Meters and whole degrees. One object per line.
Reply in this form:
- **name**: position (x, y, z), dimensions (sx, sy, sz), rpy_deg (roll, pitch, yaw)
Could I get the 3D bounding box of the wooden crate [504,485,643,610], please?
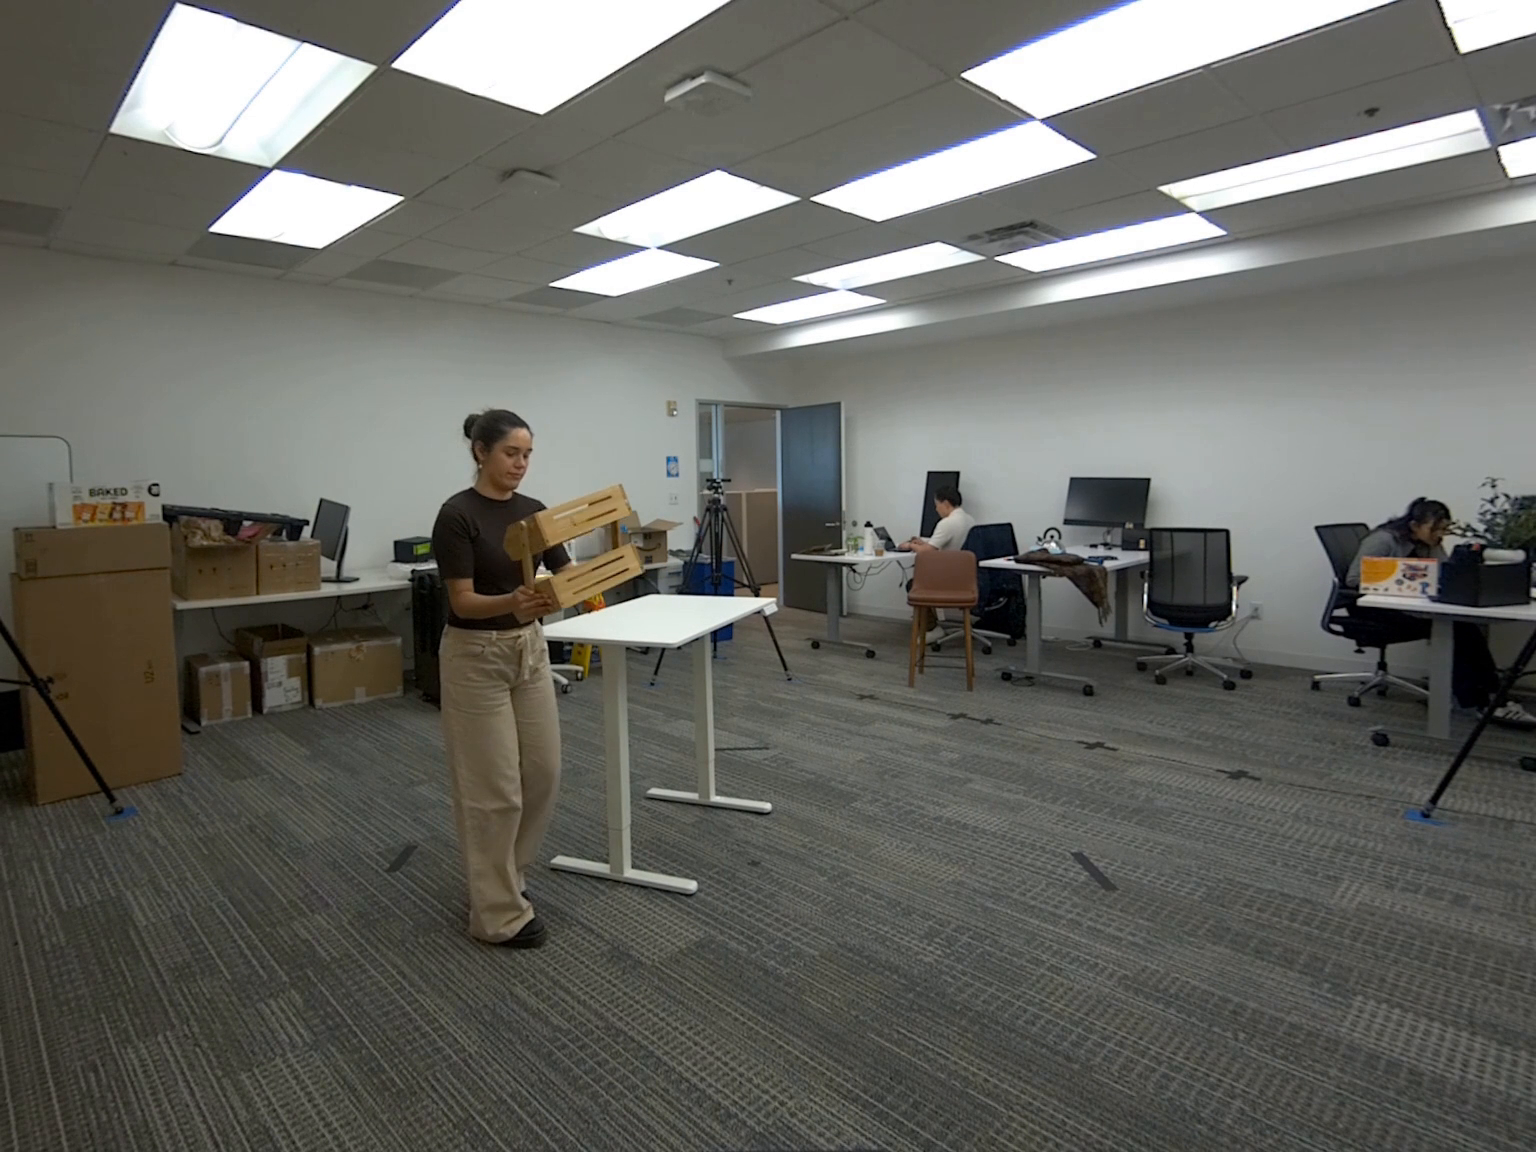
- **wooden crate**: position (-0.561, -0.063, 2.406), dimensions (0.308, 0.272, 0.320), rpy_deg (-17, 7, 46)
